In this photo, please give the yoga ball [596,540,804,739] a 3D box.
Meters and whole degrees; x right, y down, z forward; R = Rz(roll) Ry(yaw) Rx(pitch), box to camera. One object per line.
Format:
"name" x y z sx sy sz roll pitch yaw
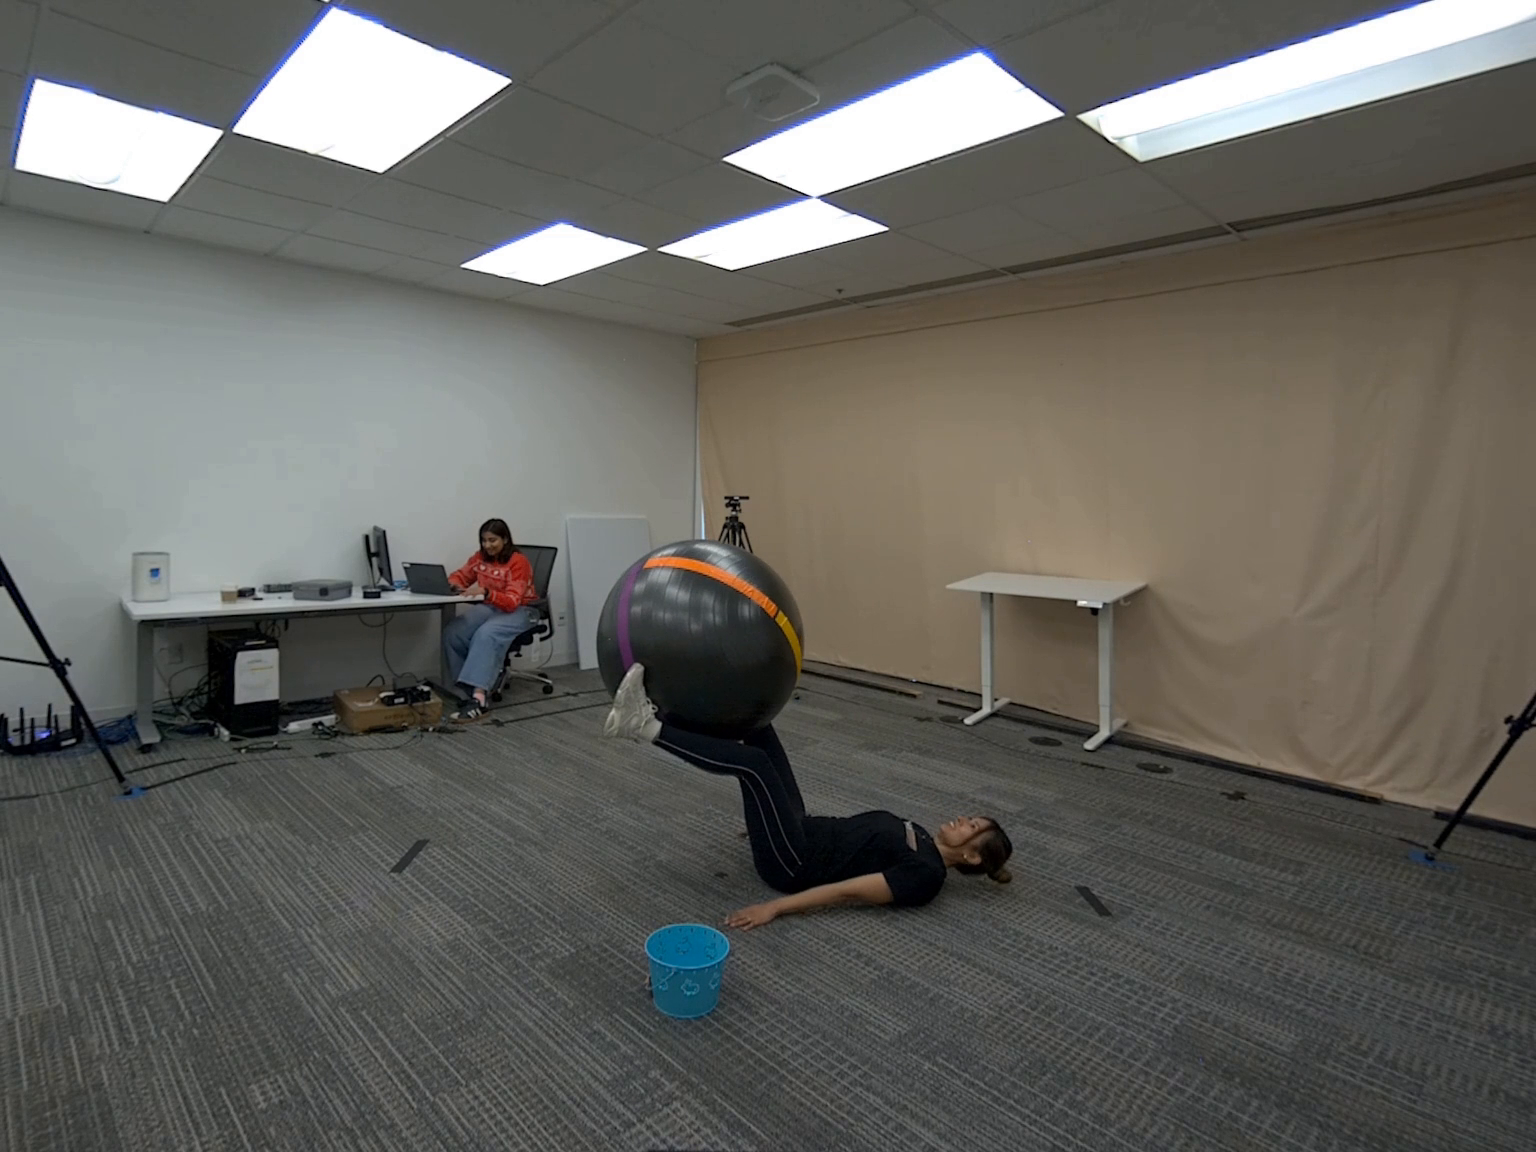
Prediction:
"yoga ball" -0.247 0.253 3.082 0.757 0.756 0.761 1 4 -1
